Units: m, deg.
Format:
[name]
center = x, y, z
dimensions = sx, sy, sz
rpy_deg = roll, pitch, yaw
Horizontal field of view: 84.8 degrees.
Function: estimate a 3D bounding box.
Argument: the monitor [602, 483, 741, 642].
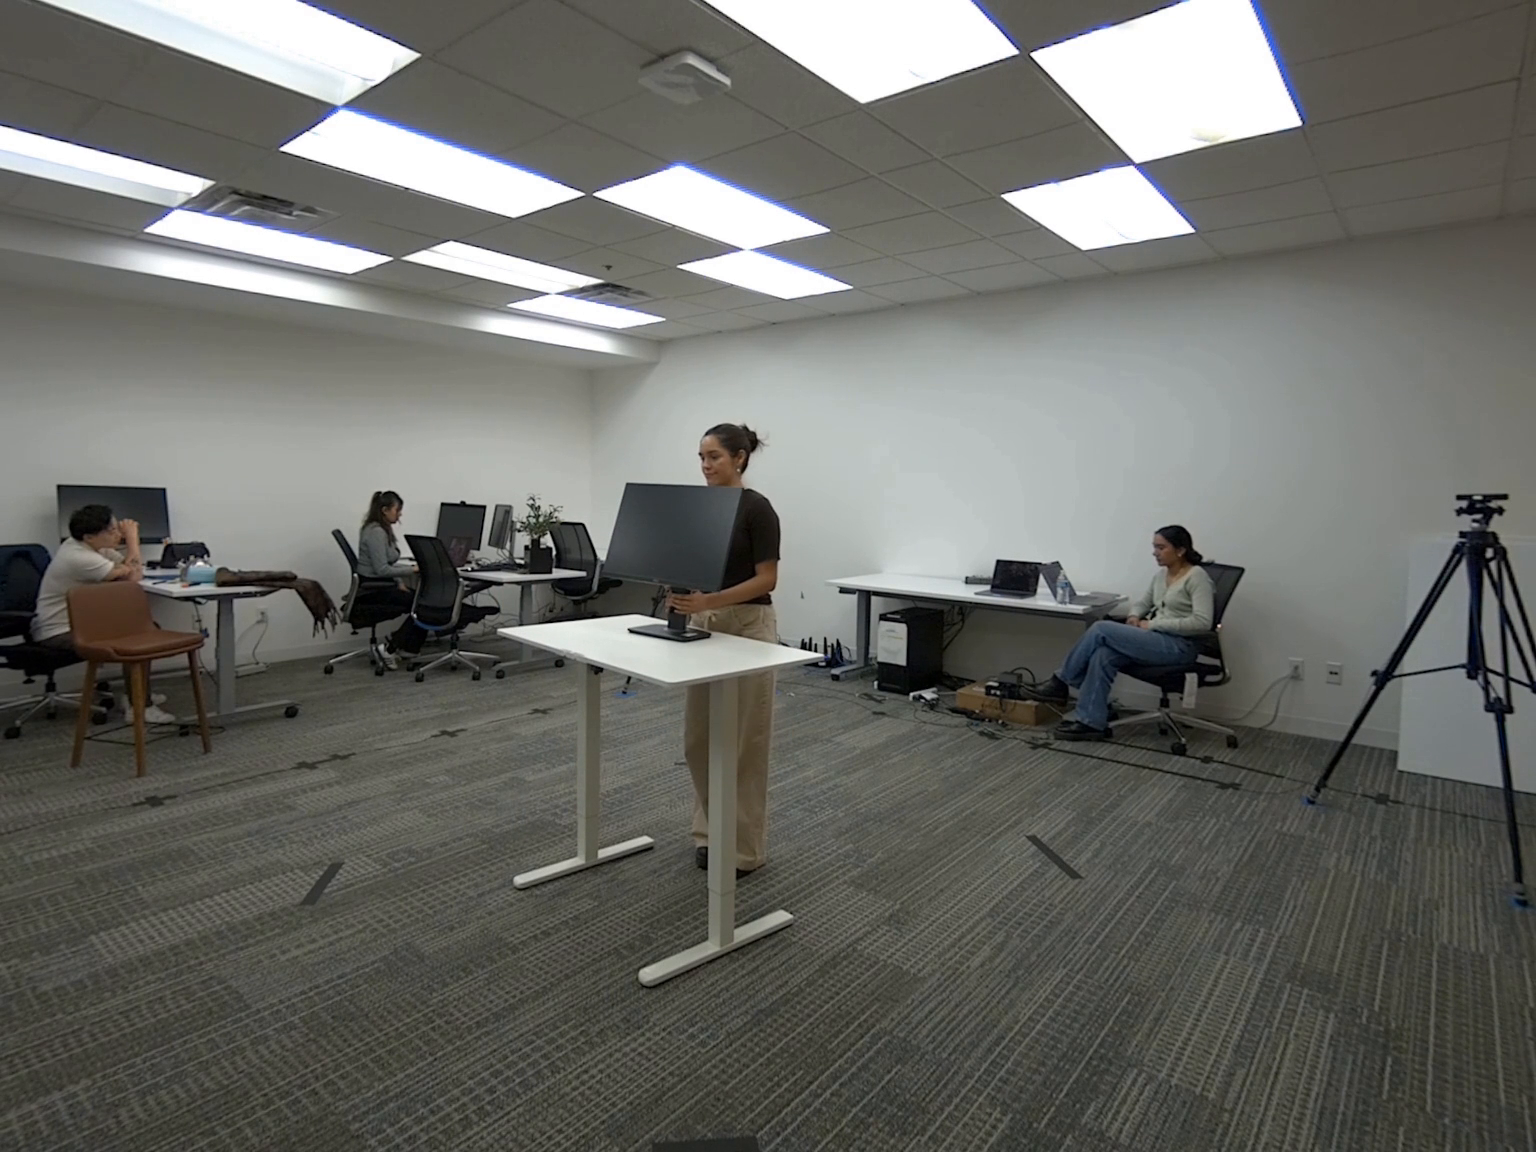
[monitor]
center = -0.333, -0.052, 2.916
dimensions = 0.557, 0.522, 0.181
rpy_deg = 6, 2, 35
